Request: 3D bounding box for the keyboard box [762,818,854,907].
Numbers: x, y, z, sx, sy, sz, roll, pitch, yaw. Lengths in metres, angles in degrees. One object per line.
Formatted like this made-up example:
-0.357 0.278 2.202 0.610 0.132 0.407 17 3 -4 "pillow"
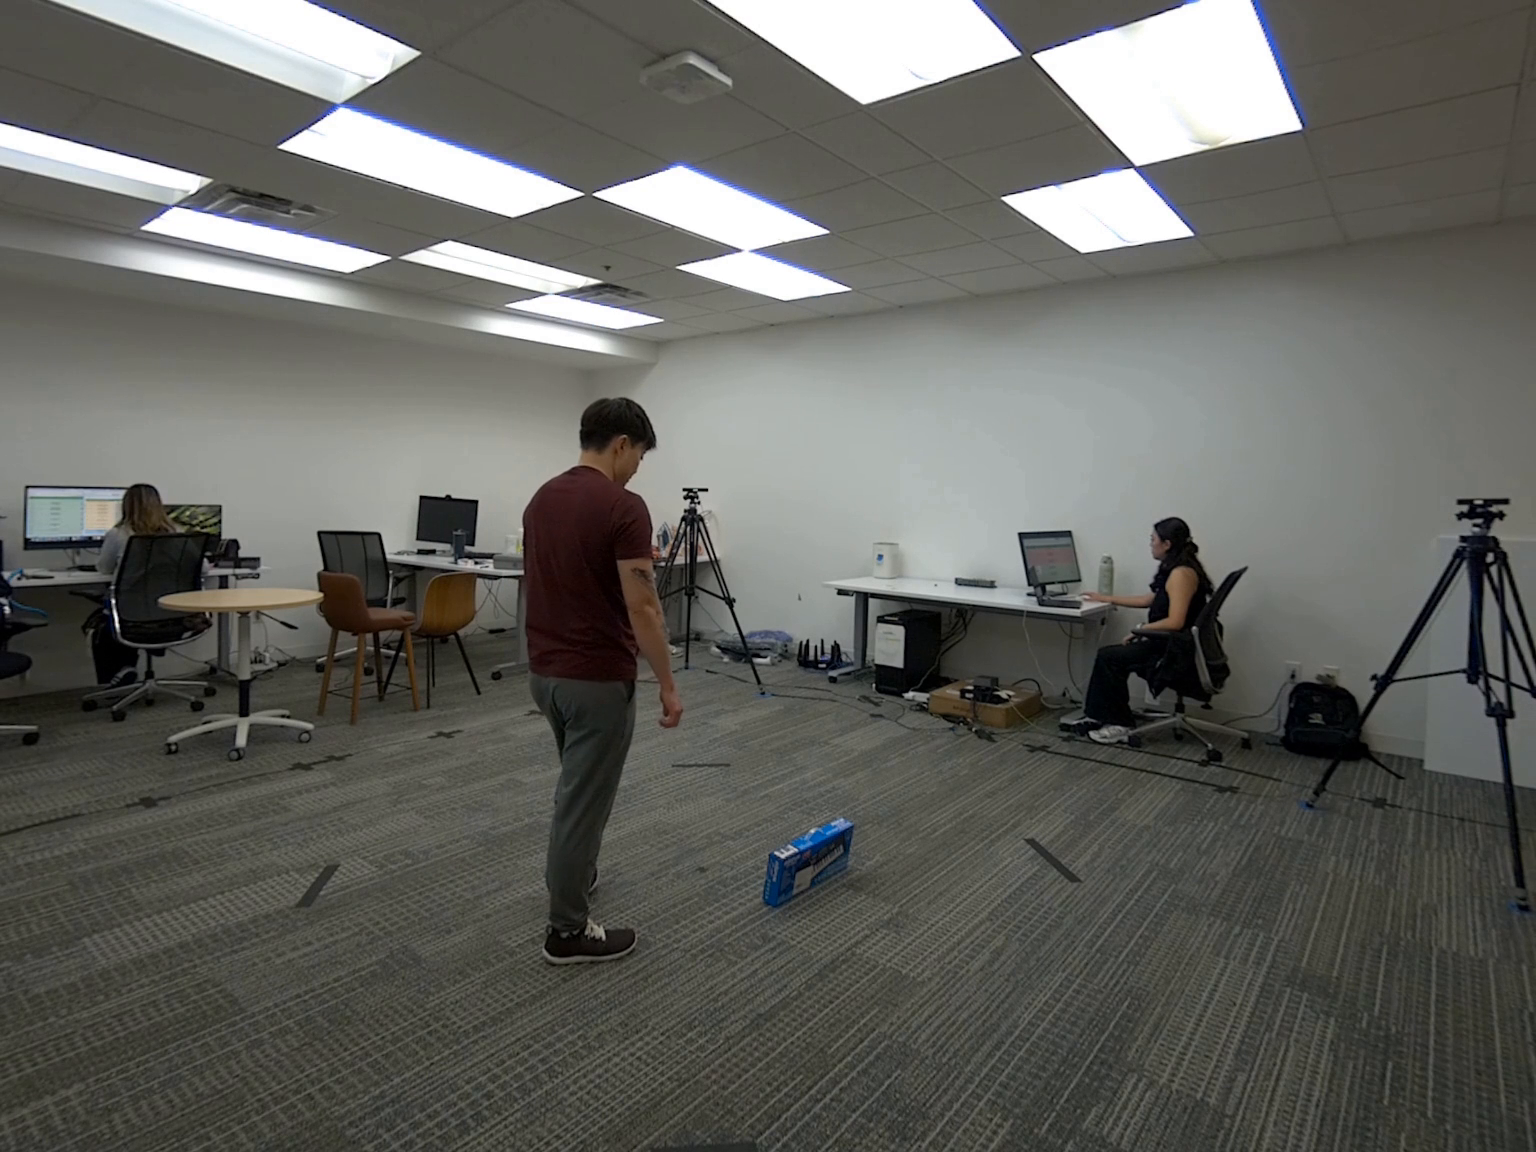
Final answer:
0.144 1.003 3.001 0.061 0.174 0.424 15 13 39 "keyboard box"
